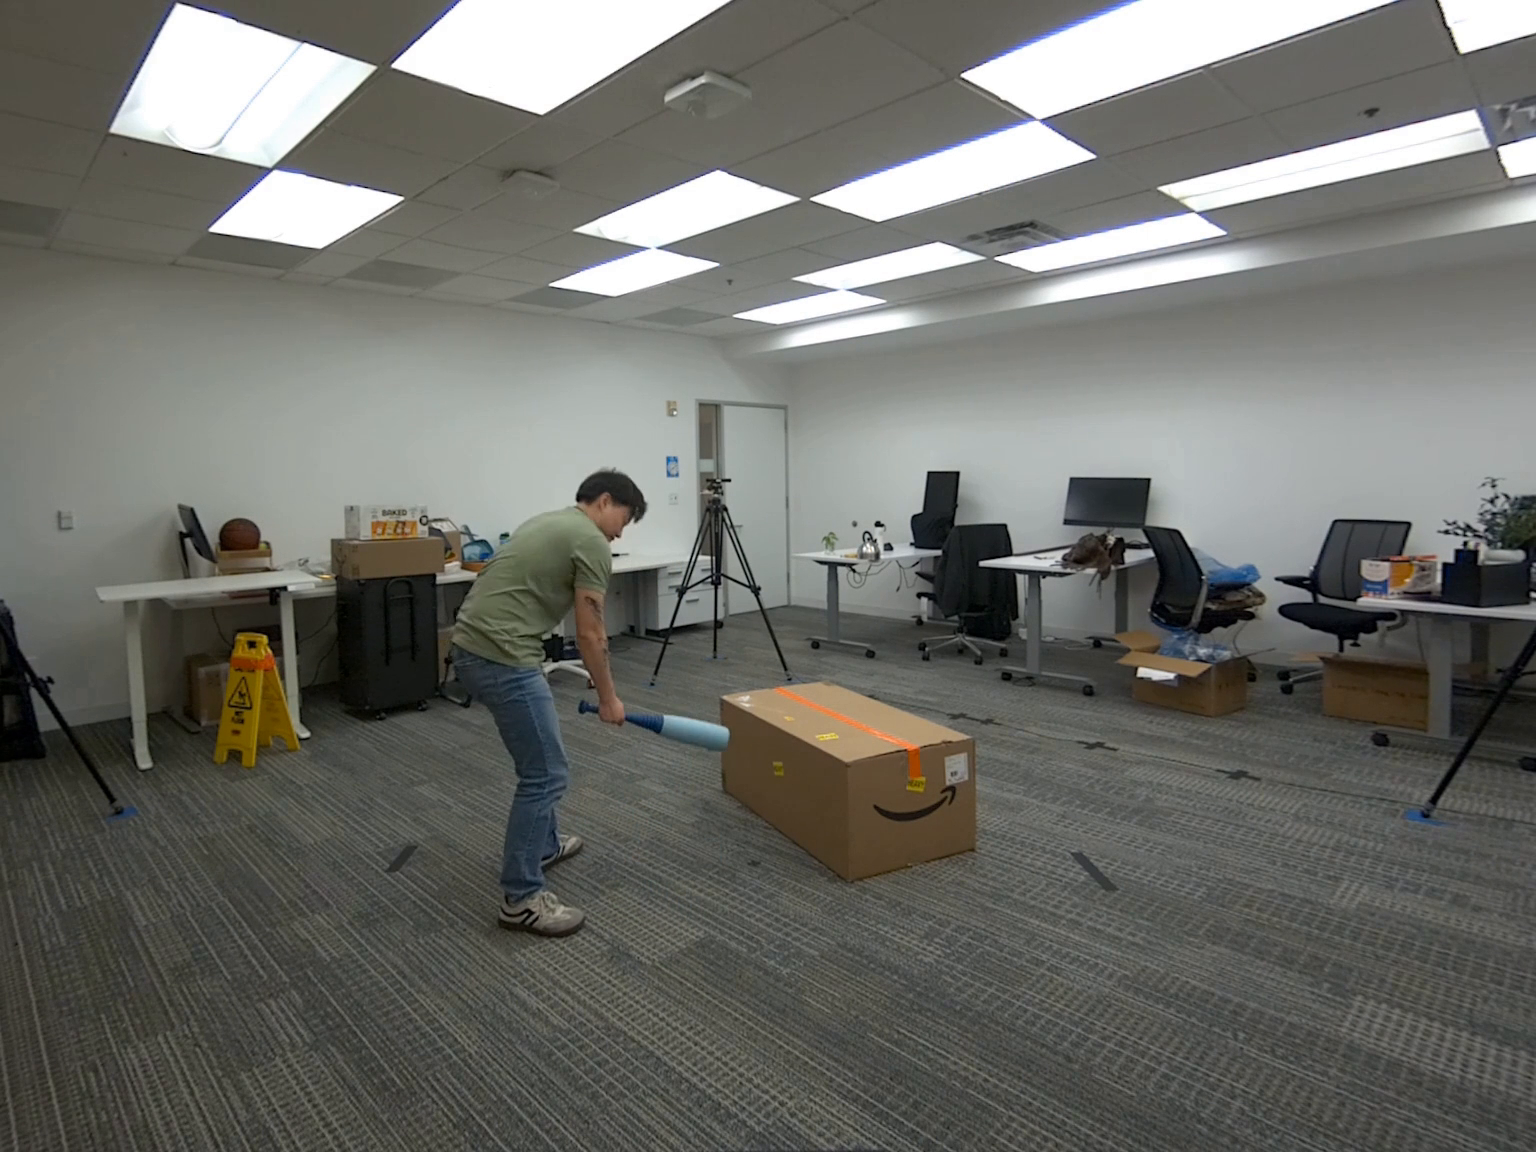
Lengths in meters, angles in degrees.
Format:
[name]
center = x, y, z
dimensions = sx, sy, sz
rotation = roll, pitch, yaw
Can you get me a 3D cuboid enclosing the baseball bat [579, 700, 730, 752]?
[baseball bat]
center = -0.394, 0.520, 2.959
dimensions = 0.533, 0.089, 0.090
rotation = 15, 0, -15
